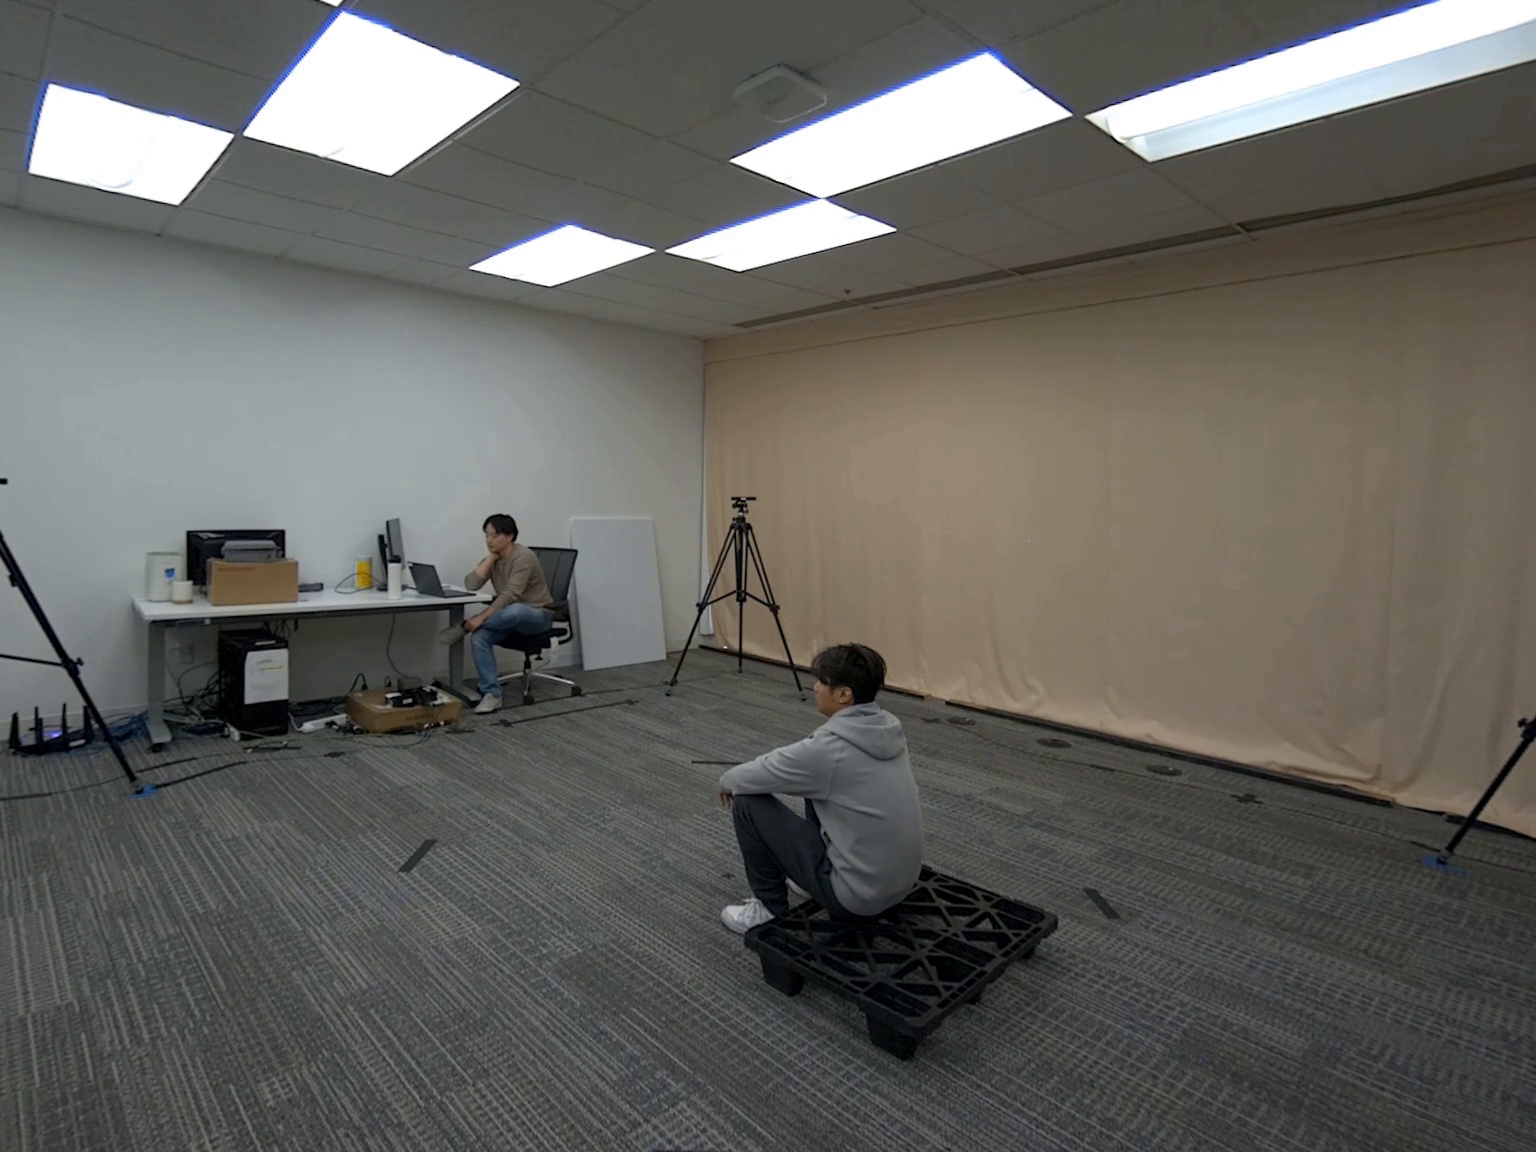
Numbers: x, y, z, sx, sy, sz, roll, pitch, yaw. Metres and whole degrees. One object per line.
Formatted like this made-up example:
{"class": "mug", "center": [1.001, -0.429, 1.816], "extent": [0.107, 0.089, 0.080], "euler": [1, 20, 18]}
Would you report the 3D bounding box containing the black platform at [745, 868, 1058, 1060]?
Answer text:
{"class": "black platform", "center": [0.399, 1.108, 2.518], "extent": [0.620, 0.143, 0.787], "euler": [6, 7, 43]}
